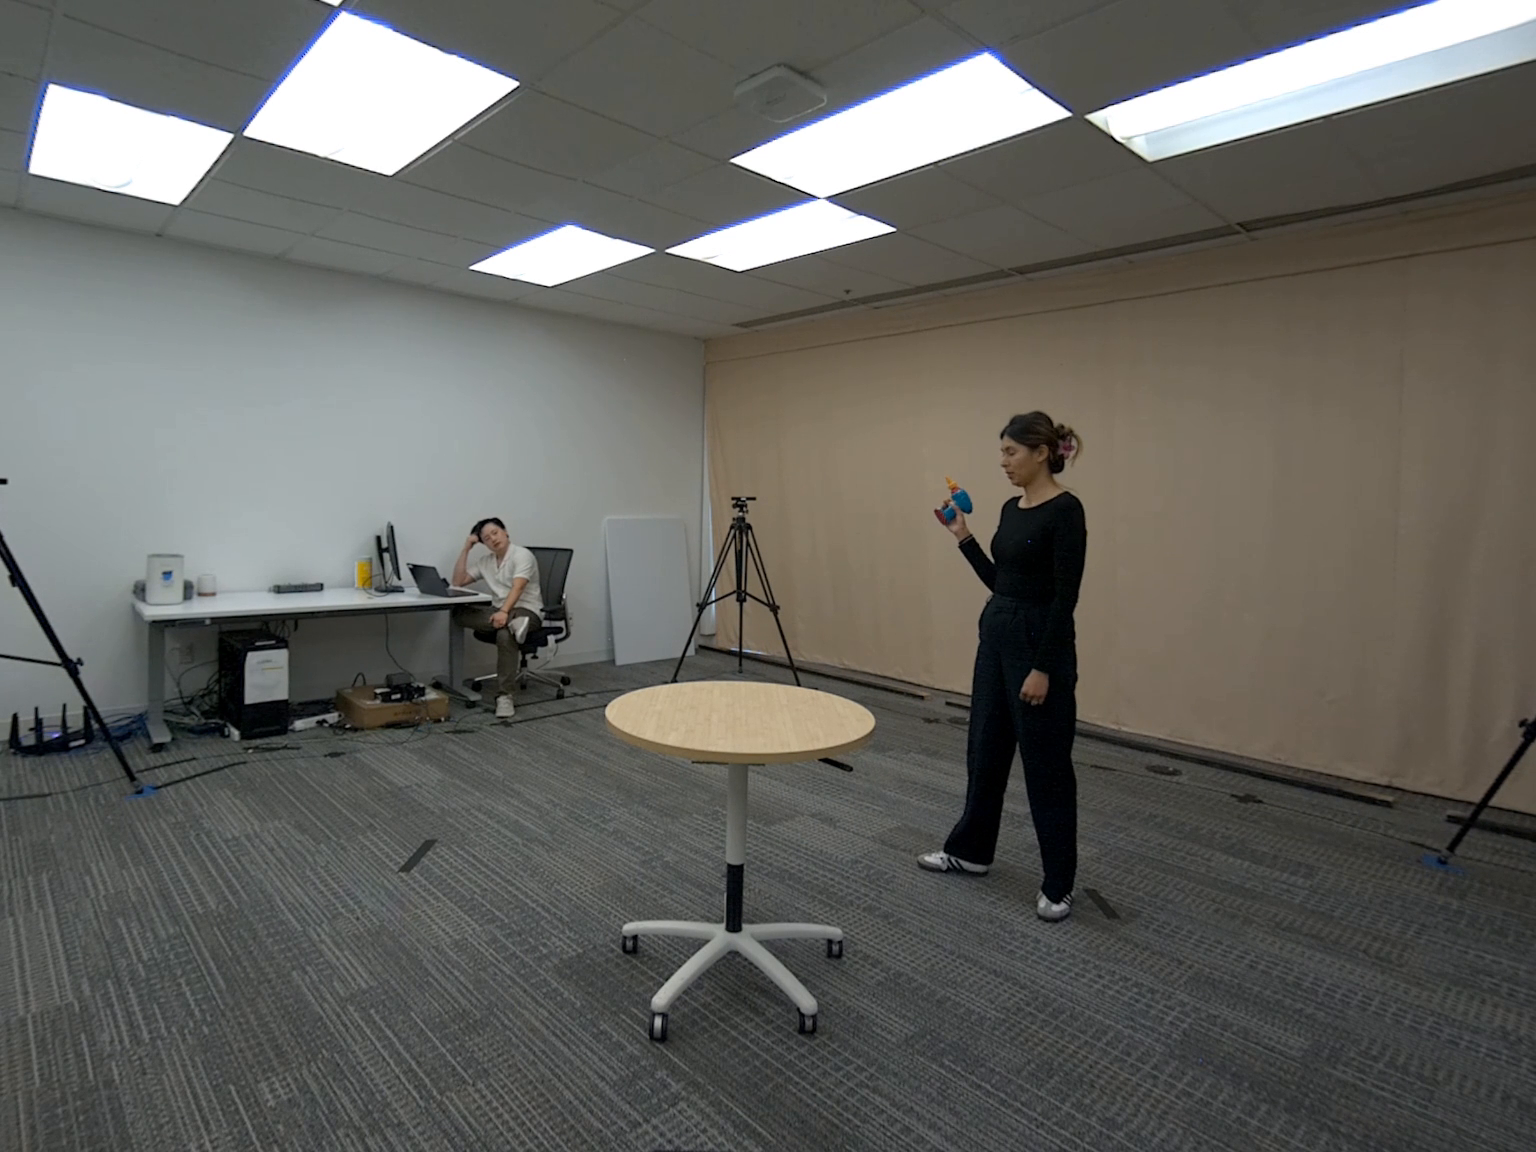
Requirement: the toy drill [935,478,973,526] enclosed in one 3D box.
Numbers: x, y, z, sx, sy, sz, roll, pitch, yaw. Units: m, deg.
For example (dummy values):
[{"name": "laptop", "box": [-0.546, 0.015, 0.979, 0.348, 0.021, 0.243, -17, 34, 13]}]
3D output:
[{"name": "toy drill", "box": [0.692, -0.293, 3.231, 0.146, 0.170, 0.061, -31, -4, -4]}]
